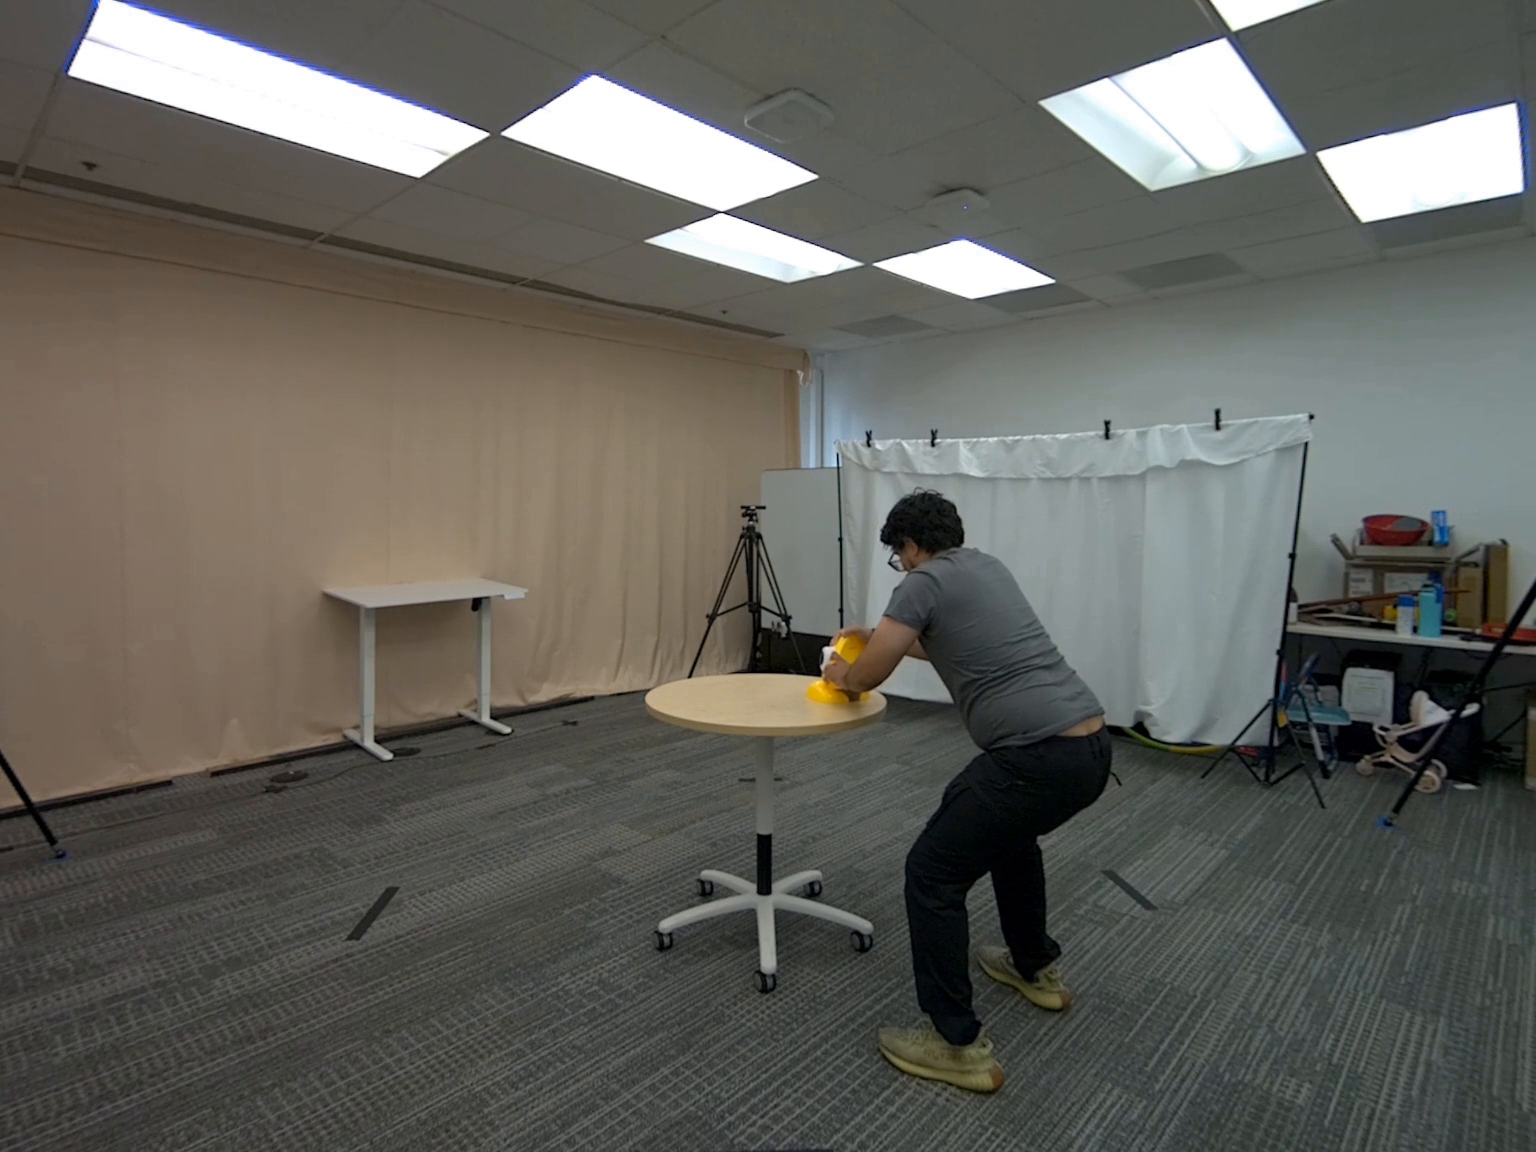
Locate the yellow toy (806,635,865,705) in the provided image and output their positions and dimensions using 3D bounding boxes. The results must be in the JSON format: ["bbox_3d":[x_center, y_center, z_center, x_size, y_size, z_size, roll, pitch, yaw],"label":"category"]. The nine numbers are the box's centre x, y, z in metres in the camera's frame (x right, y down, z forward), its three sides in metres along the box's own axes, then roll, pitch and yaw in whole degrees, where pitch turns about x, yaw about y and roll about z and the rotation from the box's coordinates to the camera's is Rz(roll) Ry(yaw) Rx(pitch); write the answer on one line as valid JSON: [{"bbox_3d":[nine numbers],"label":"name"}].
[{"bbox_3d":[0.236,0.277,2.682,0.199,0.230,0.199,-1,4,-34],"label":"yellow toy"}]
